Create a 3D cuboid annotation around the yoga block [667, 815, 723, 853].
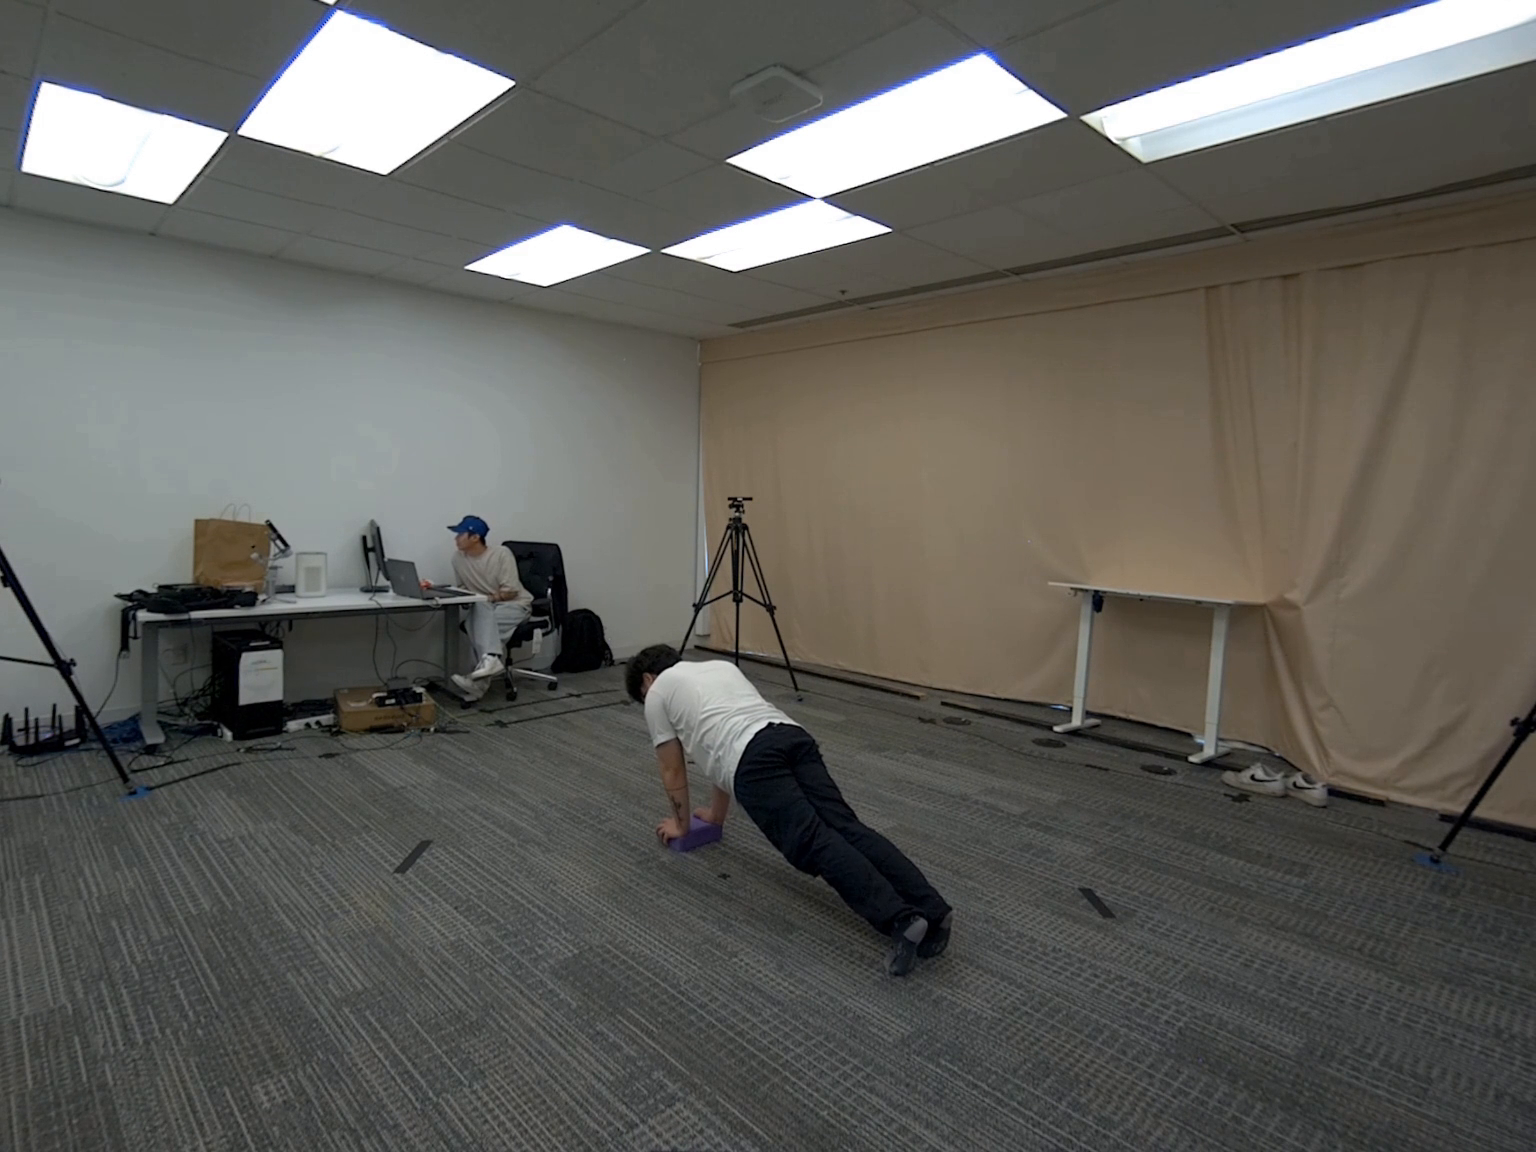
[{"bbox_3d":[-0.323,1.042,3.423,0.153,0.076,0.224,5,6,45],"label":"yoga block"}]
